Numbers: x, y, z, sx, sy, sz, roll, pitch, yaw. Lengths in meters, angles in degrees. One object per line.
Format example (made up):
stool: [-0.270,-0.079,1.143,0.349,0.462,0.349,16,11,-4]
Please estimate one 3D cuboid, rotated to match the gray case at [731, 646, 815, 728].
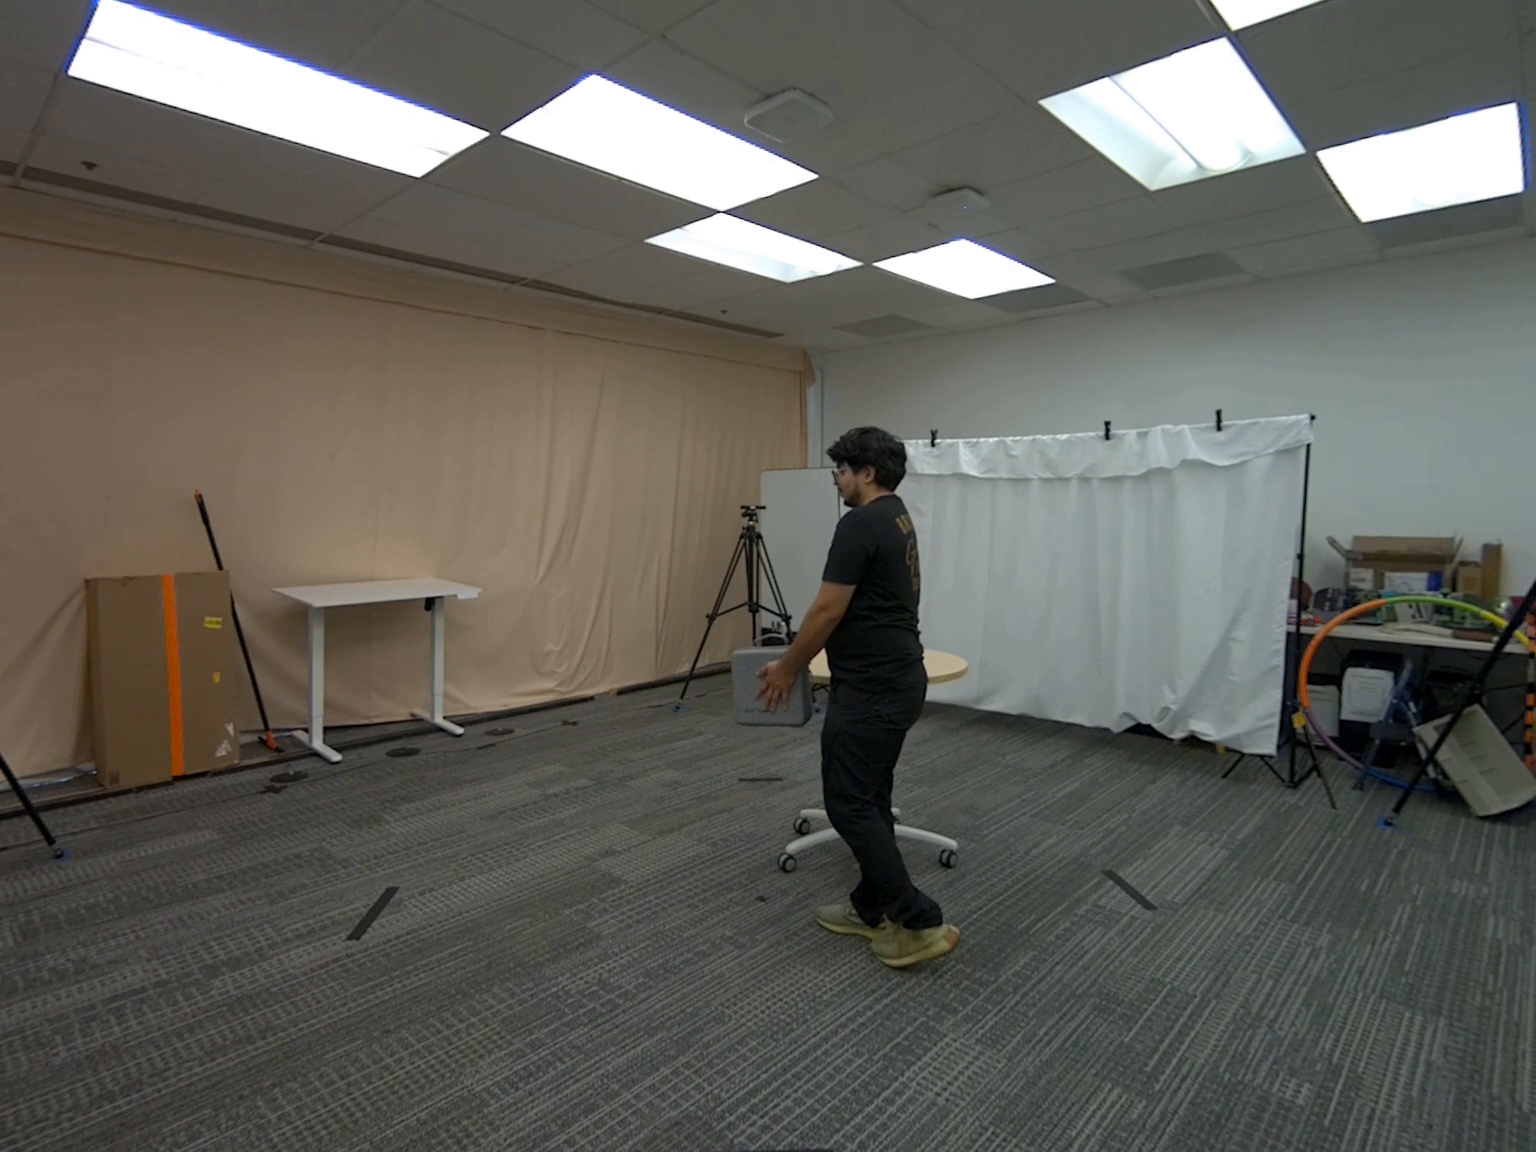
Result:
gray case: [0.009,0.361,2.775,0.262,0.261,0.102,-4,-5,21]
